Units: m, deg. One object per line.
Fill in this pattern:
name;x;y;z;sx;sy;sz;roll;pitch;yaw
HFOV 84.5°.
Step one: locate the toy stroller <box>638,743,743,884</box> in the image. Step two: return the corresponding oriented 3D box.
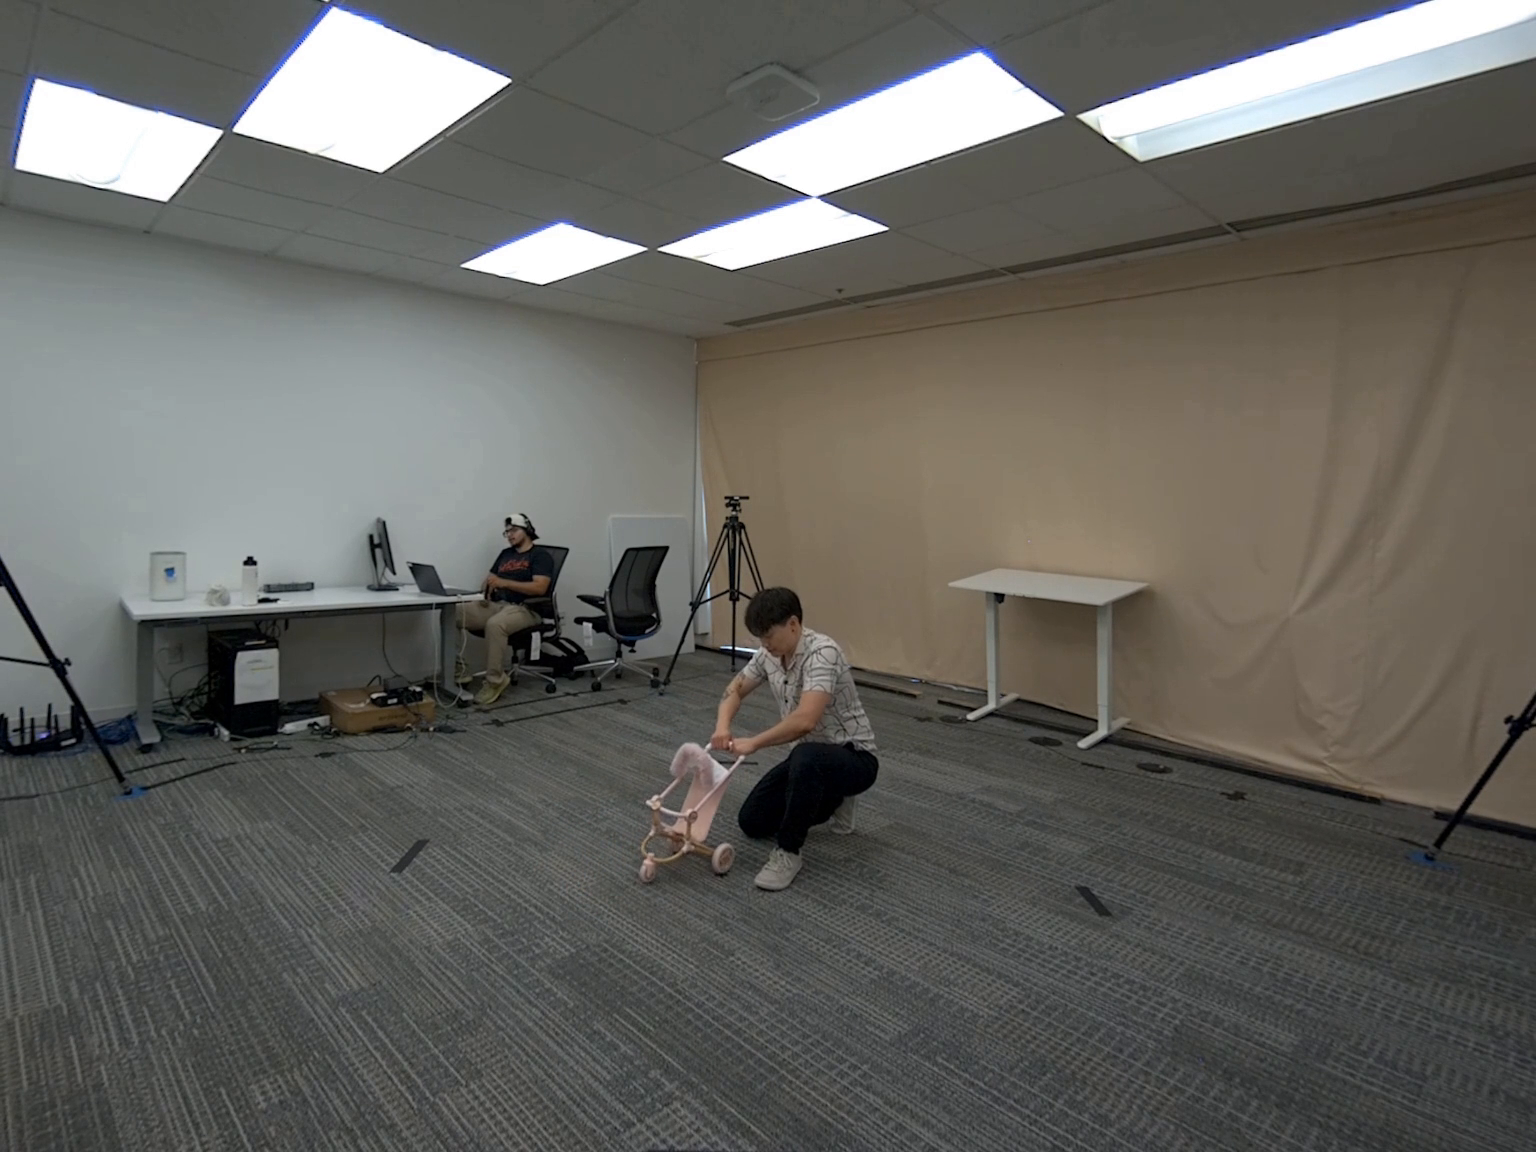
toy stroller;-0.298;0.866;3.152;0.331;0.537;0.288;19;-9;-41
